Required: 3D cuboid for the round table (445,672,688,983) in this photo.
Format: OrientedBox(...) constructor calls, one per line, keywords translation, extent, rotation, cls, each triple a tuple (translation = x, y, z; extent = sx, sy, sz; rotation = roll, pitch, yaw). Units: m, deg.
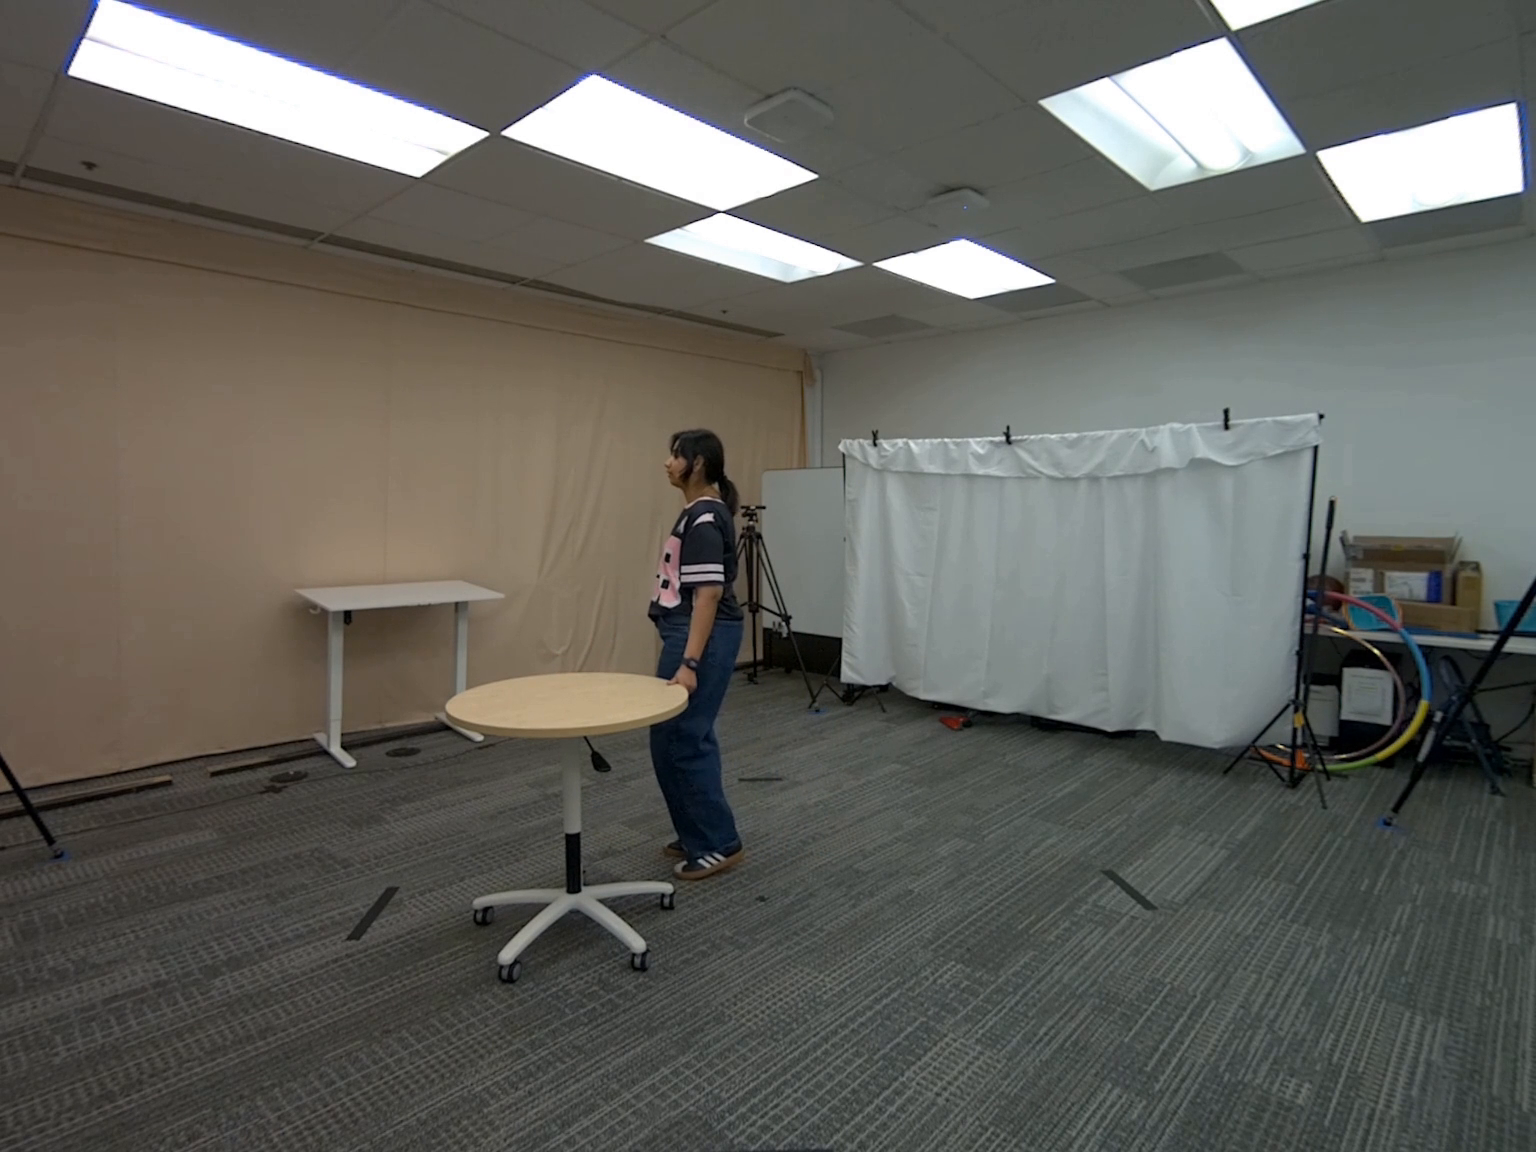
OrientedBox(translation=(-0.635, 0.777, 2.747), extent=(0.784, 0.784, 0.788), rotation=(-1, 4, -2), cls="round table")
